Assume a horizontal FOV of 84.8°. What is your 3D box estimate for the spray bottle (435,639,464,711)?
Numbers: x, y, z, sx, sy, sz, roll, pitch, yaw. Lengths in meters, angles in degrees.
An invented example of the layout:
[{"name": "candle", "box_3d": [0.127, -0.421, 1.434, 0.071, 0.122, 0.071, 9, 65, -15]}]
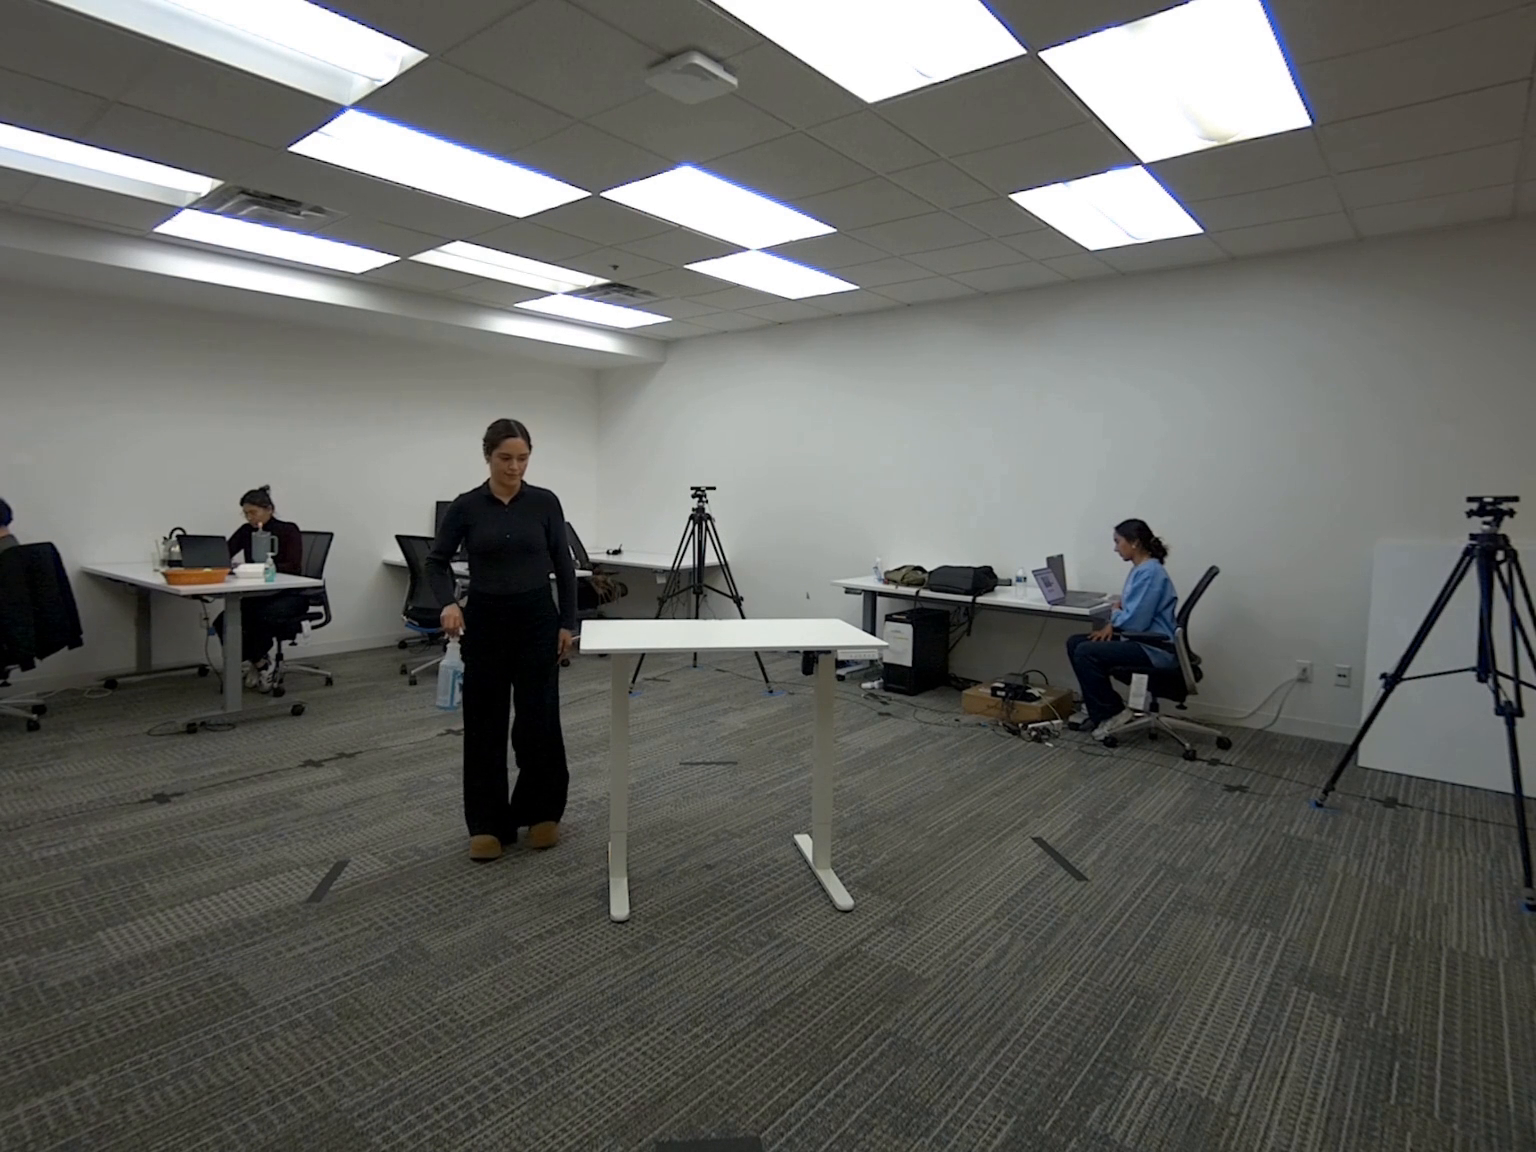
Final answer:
[{"name": "spray bottle", "box_3d": [-1.141, 0.318, 3.036, 0.084, 0.298, 0.092, 6, -4, -33]}]
